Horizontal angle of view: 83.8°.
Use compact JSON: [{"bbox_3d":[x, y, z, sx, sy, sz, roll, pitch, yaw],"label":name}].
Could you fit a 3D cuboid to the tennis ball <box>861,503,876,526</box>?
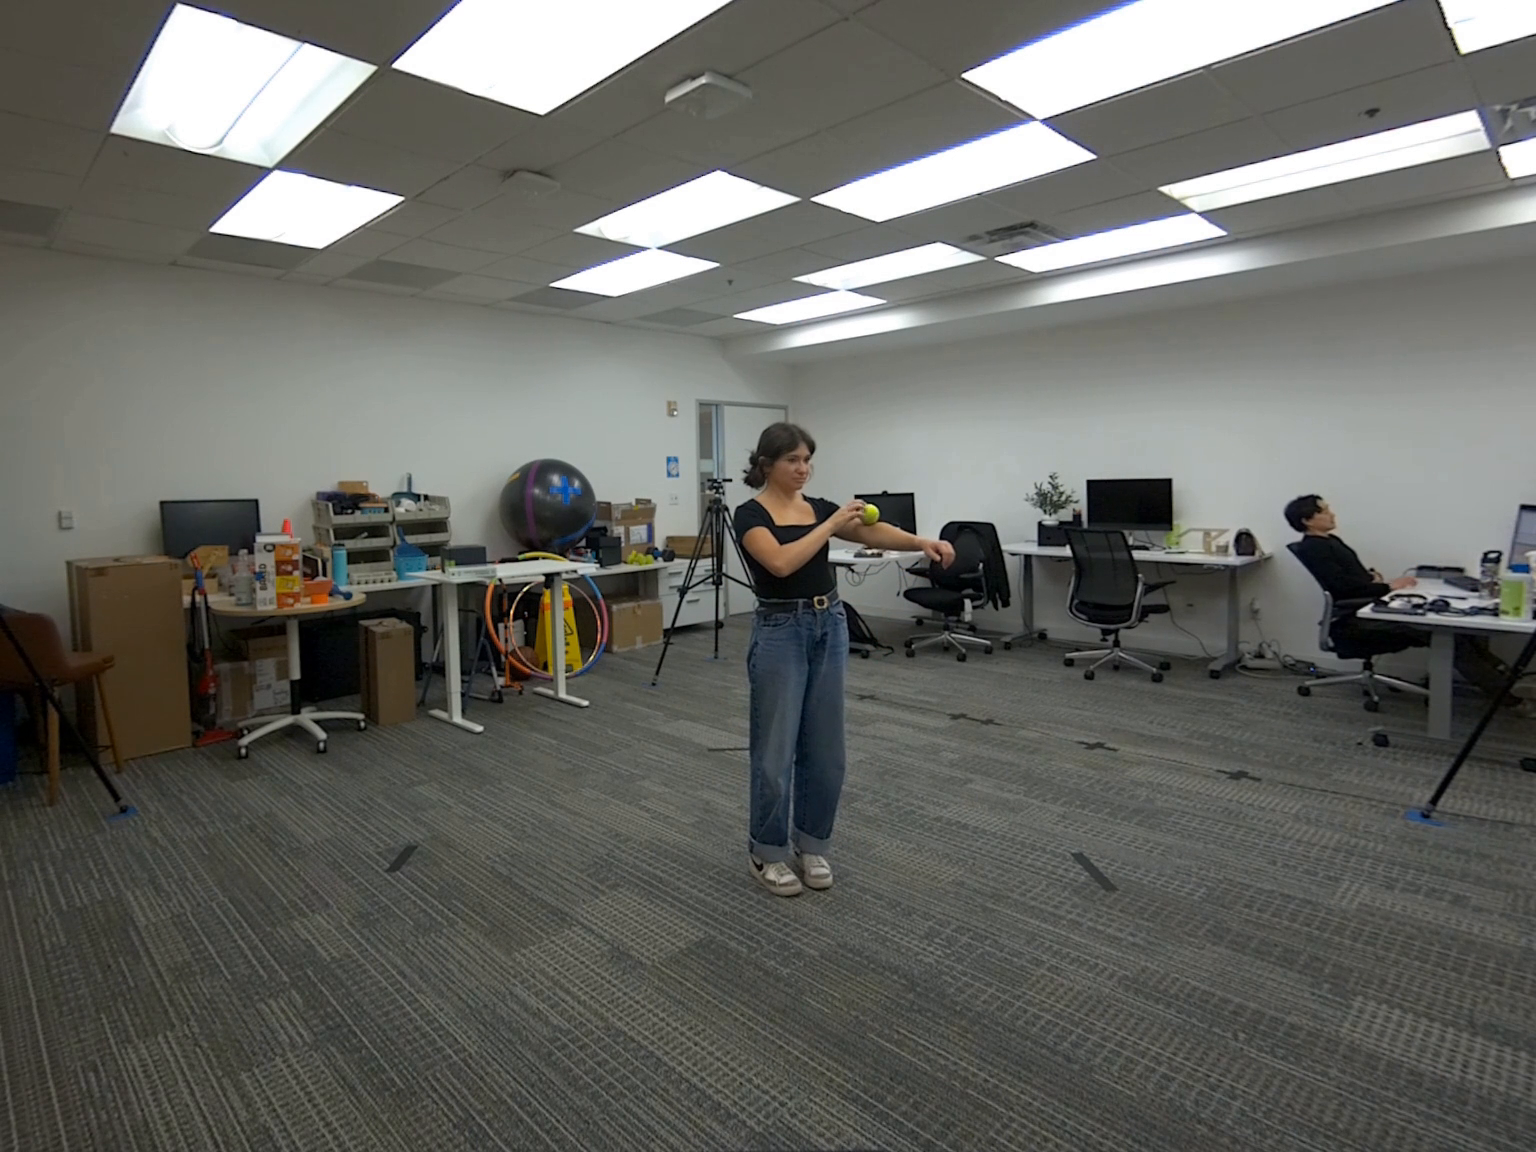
[{"bbox_3d":[0.289,-0.201,2.834,0.066,0.066,0.067,-1,5,-2],"label":"tennis ball"}]
